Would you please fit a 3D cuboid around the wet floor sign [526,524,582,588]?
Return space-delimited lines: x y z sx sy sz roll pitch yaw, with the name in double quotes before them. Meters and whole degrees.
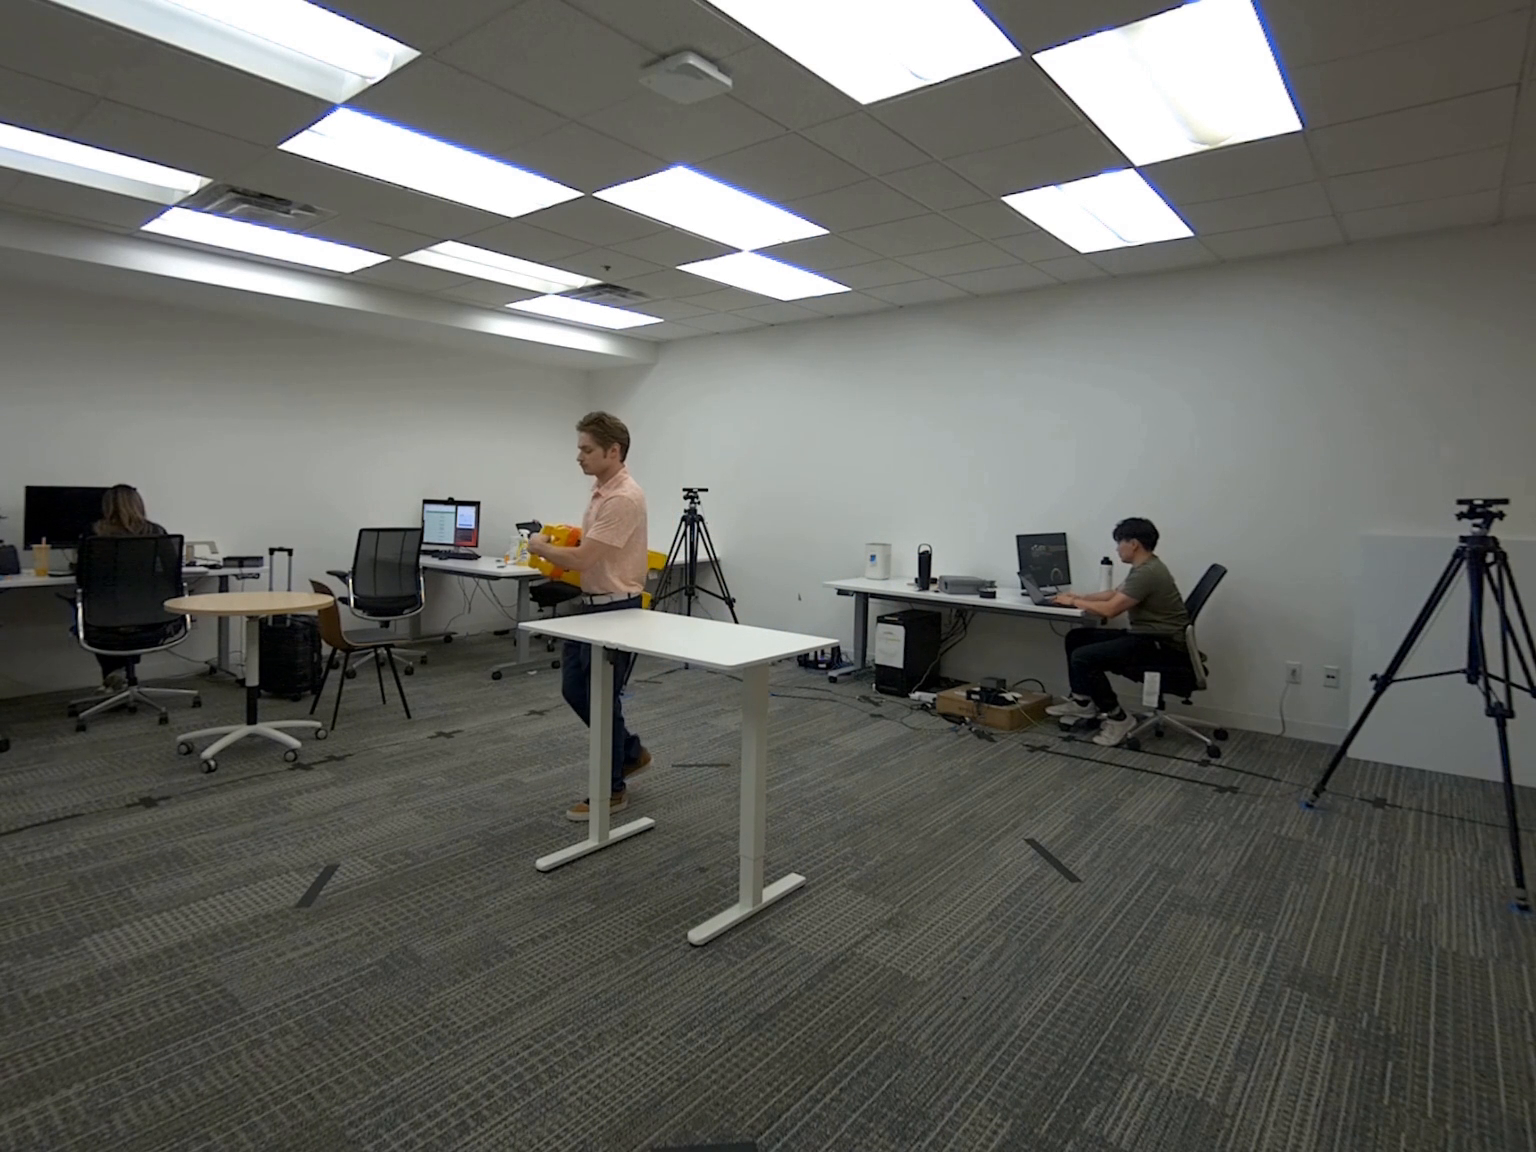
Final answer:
"wet floor sign" -0.806 -0.070 3.828 0.302 0.282 0.621 27 6 41
